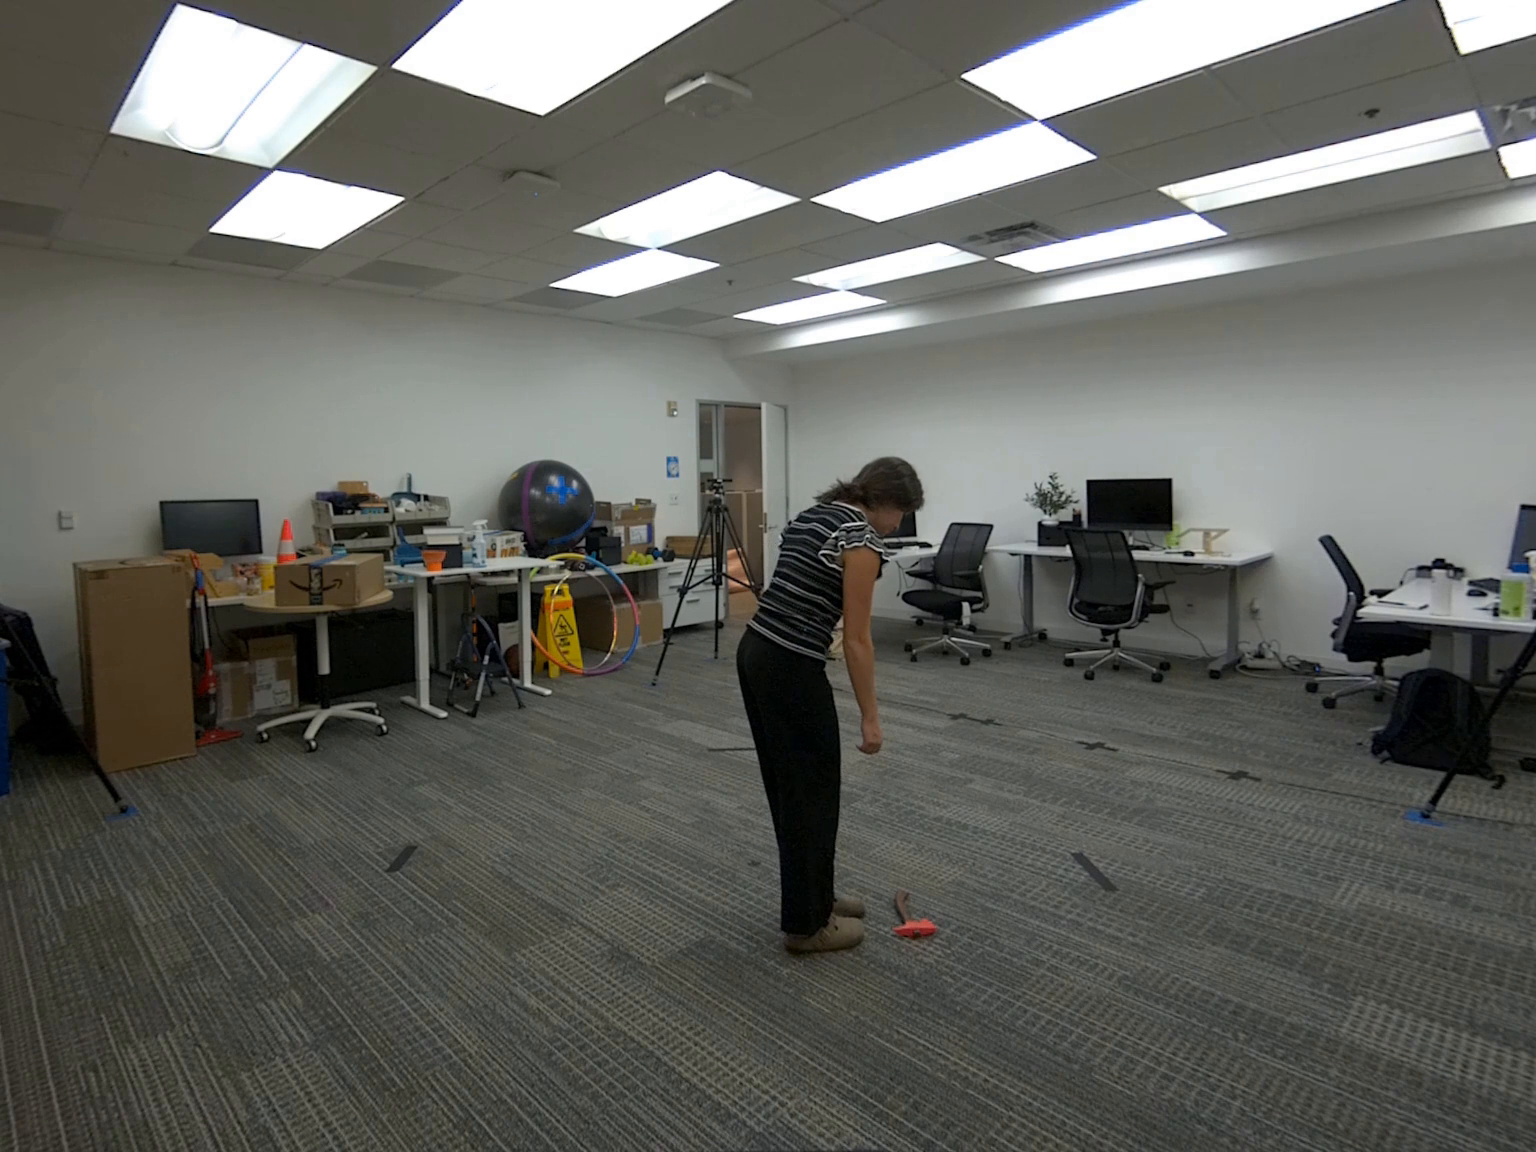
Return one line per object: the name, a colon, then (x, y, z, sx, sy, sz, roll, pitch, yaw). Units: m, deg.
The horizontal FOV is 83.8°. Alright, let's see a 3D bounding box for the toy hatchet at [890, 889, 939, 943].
toy hatchet: (0.467, 1.070, 2.707, 0.132, 0.029, 0.268, -1, 6, 11)
